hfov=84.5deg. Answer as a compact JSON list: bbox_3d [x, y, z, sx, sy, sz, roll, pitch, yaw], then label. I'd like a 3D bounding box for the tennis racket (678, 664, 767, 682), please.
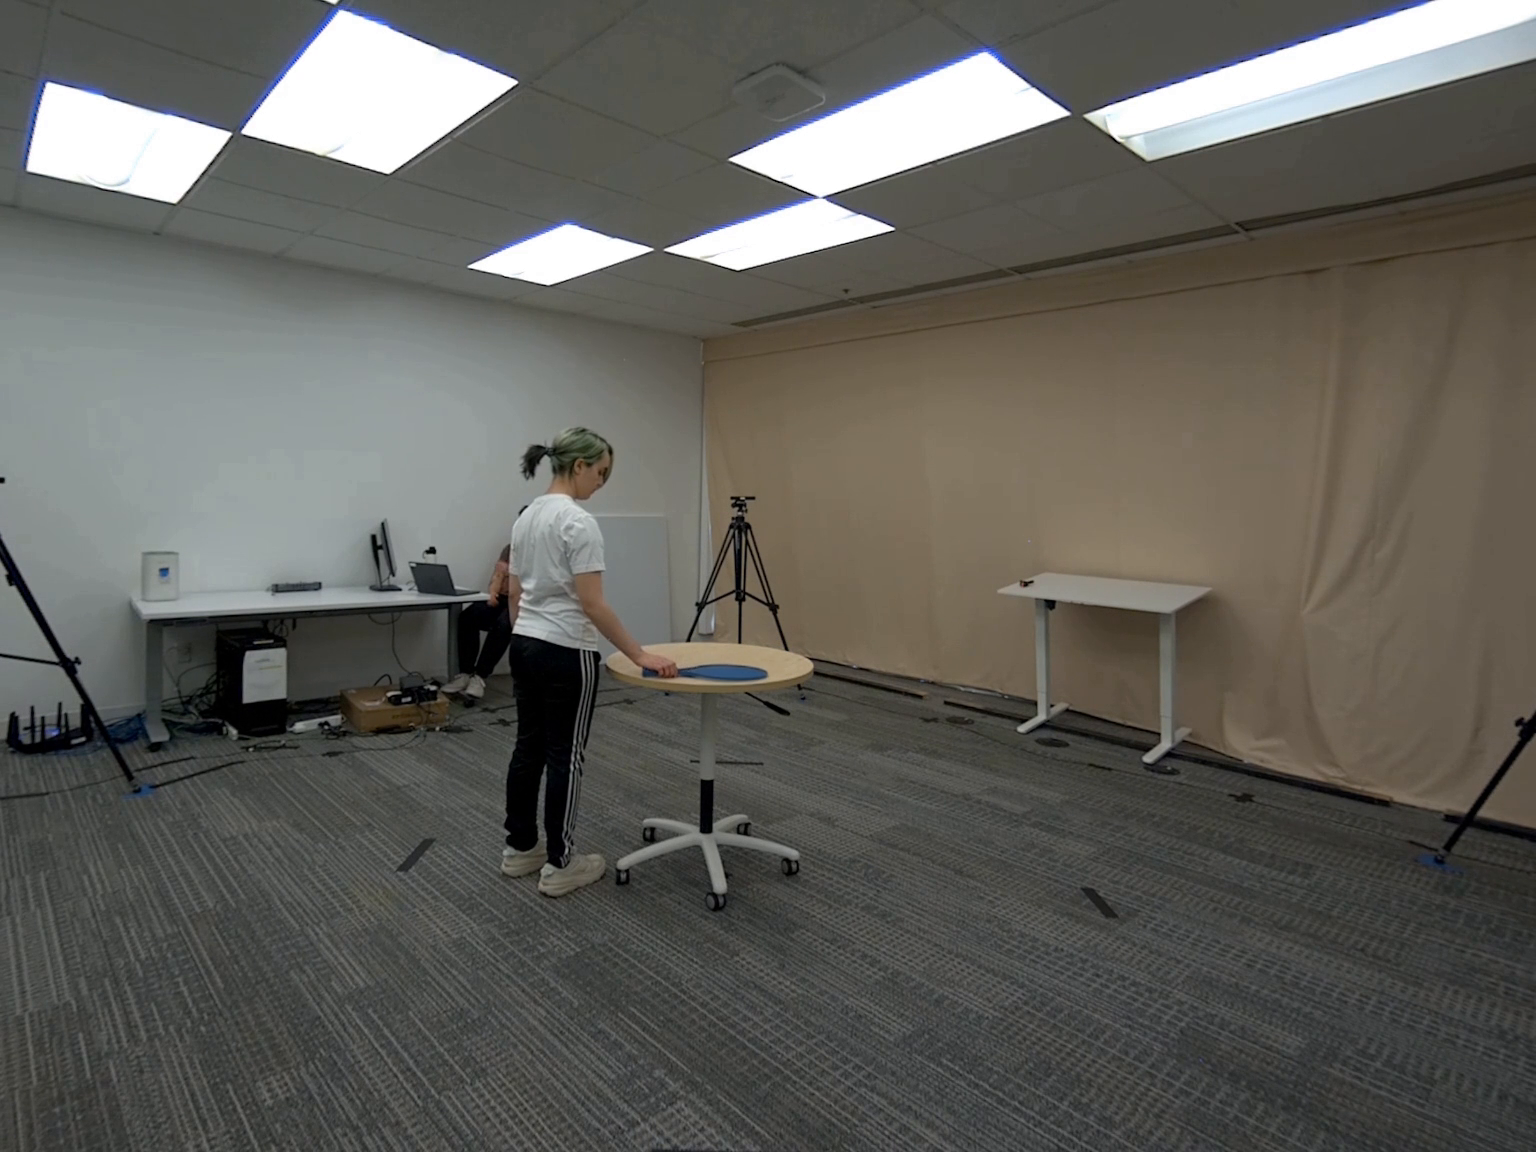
[{"bbox_3d":[-0.224,0.328,2.875,0.430,0.031,0.216,2,6,-7],"label":"tennis racket"}]
